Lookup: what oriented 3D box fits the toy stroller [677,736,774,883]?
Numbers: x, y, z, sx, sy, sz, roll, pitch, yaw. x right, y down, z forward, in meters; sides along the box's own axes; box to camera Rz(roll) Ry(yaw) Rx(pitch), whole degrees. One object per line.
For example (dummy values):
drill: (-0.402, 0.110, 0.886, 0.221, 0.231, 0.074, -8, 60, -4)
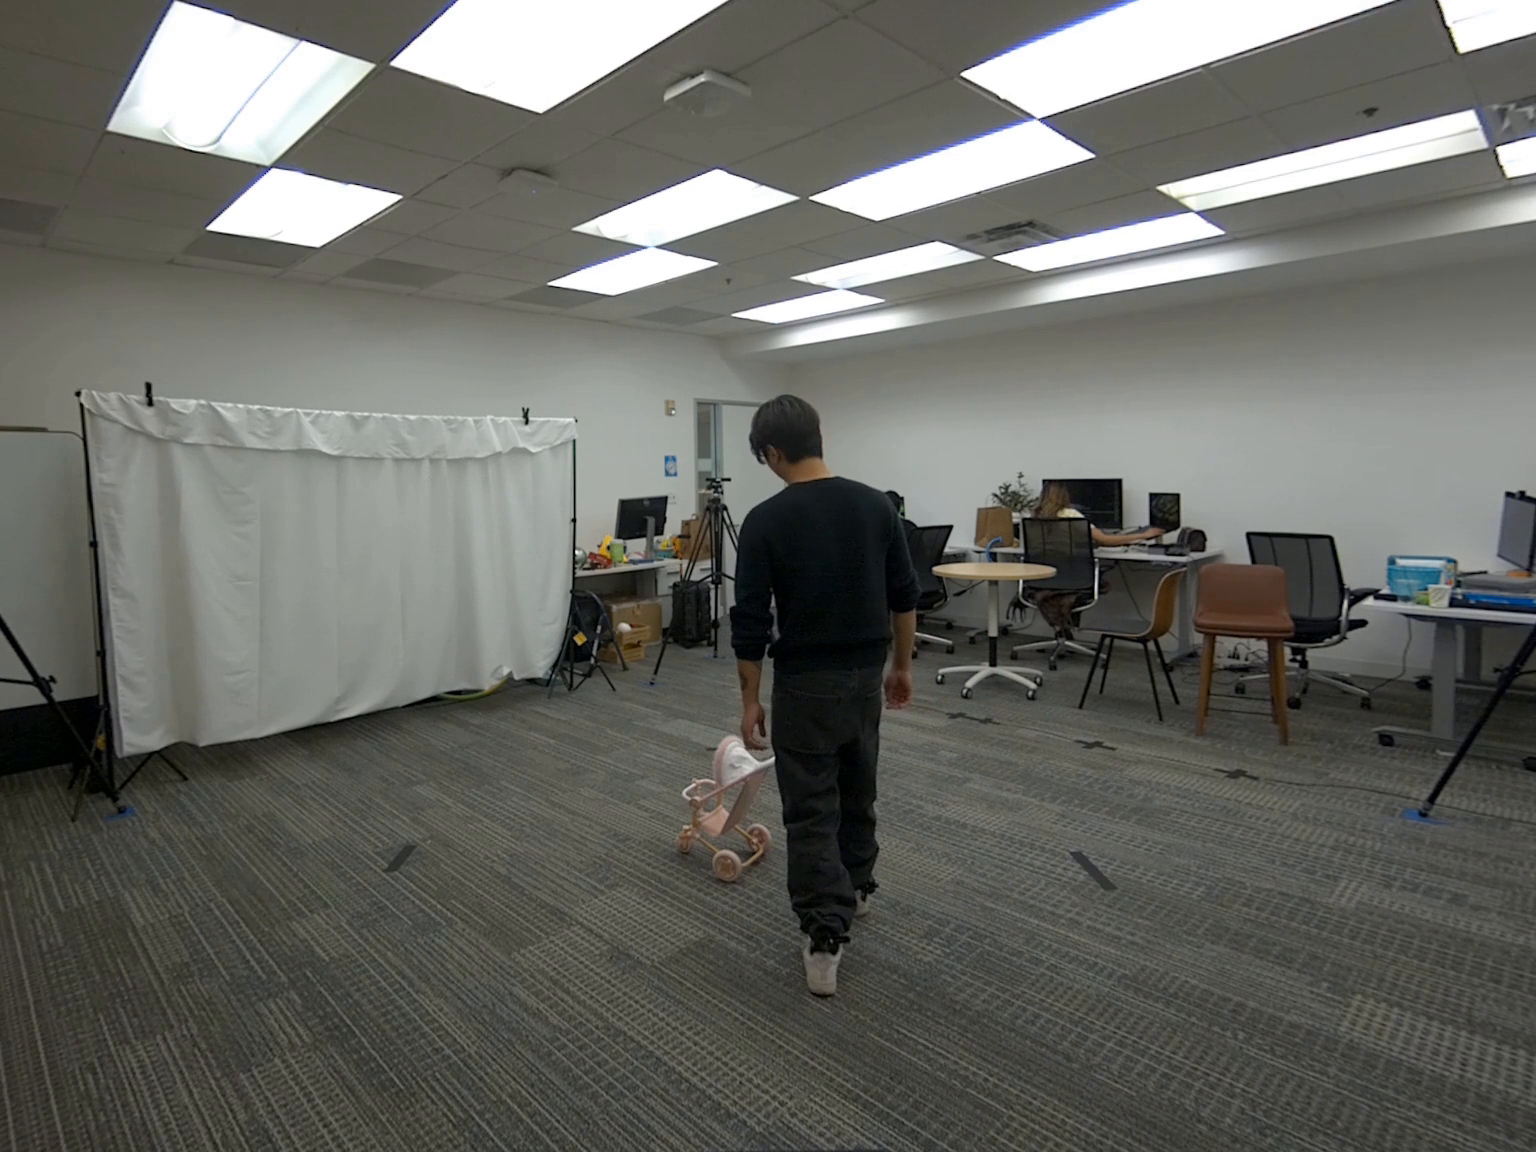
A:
toy stroller: (-0.146, 0.818, 3.096, 0.352, 0.530, 0.275, 20, 14, 29)
